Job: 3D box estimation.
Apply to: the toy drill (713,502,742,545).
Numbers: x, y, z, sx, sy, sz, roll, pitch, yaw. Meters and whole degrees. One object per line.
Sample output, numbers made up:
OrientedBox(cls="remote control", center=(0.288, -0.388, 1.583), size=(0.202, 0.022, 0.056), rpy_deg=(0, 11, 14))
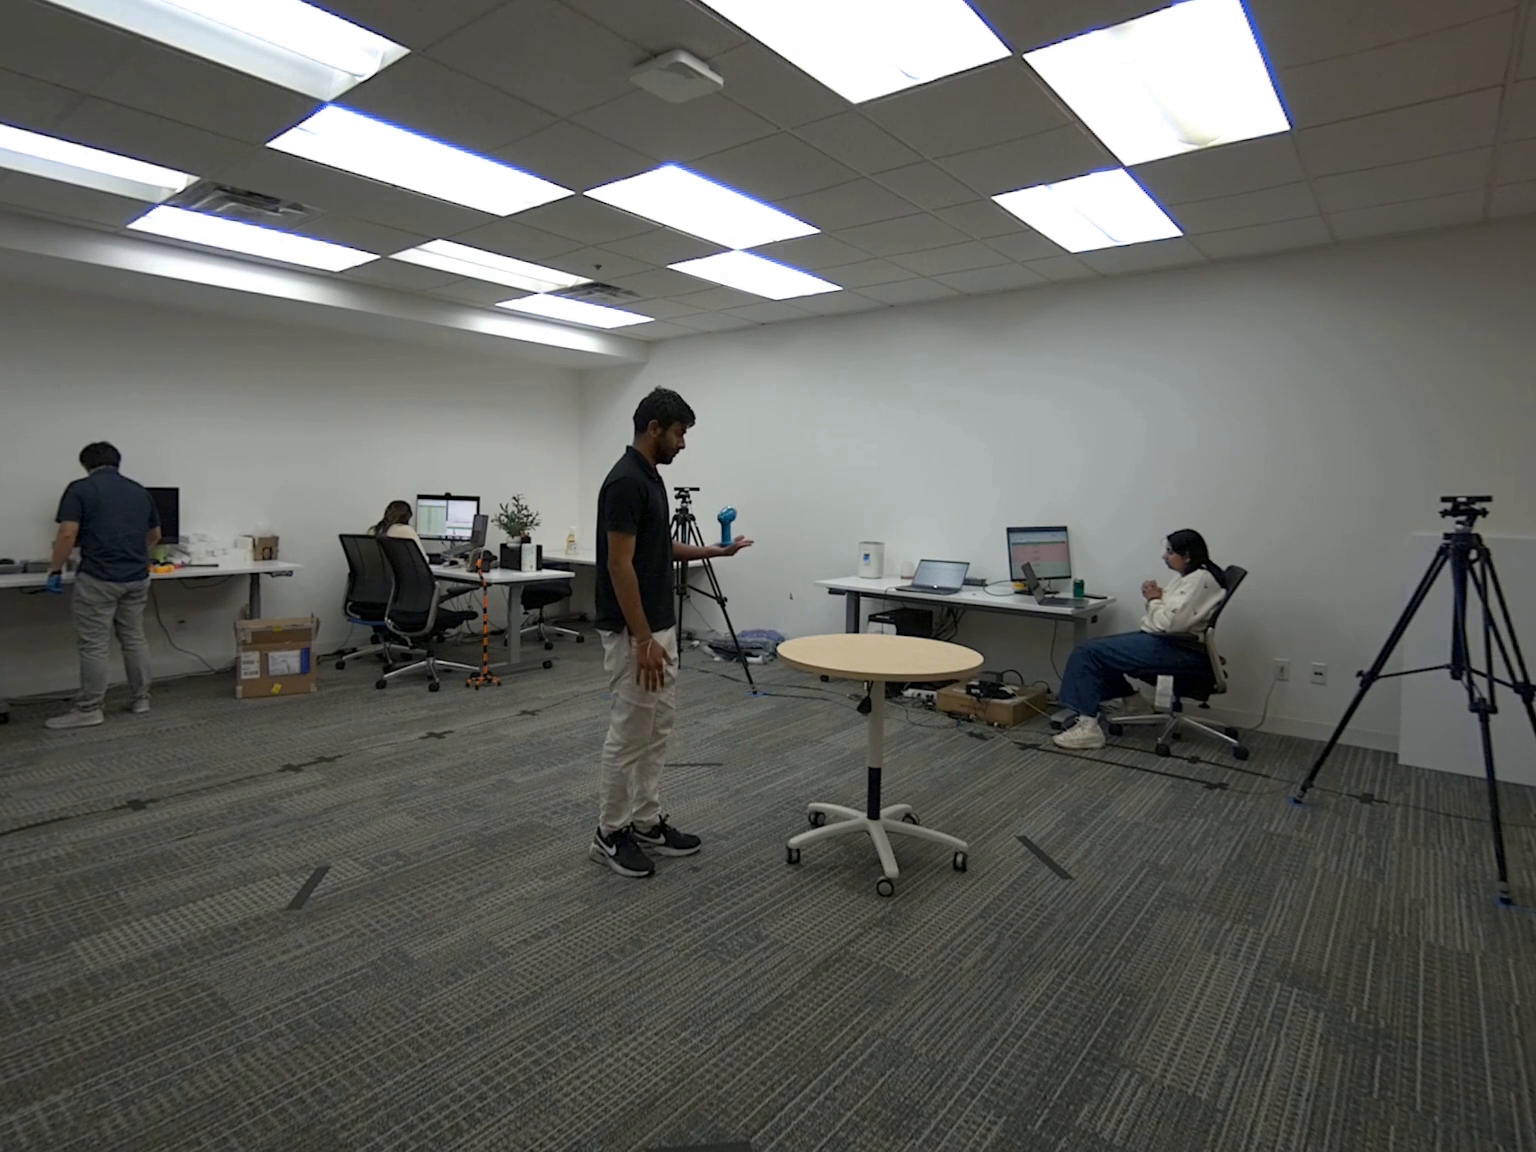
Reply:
OrientedBox(cls="toy drill", center=(-0.153, -0.189, 3.148), size=(0.062, 0.144, 0.169), rpy_deg=(4, 16, 13))
